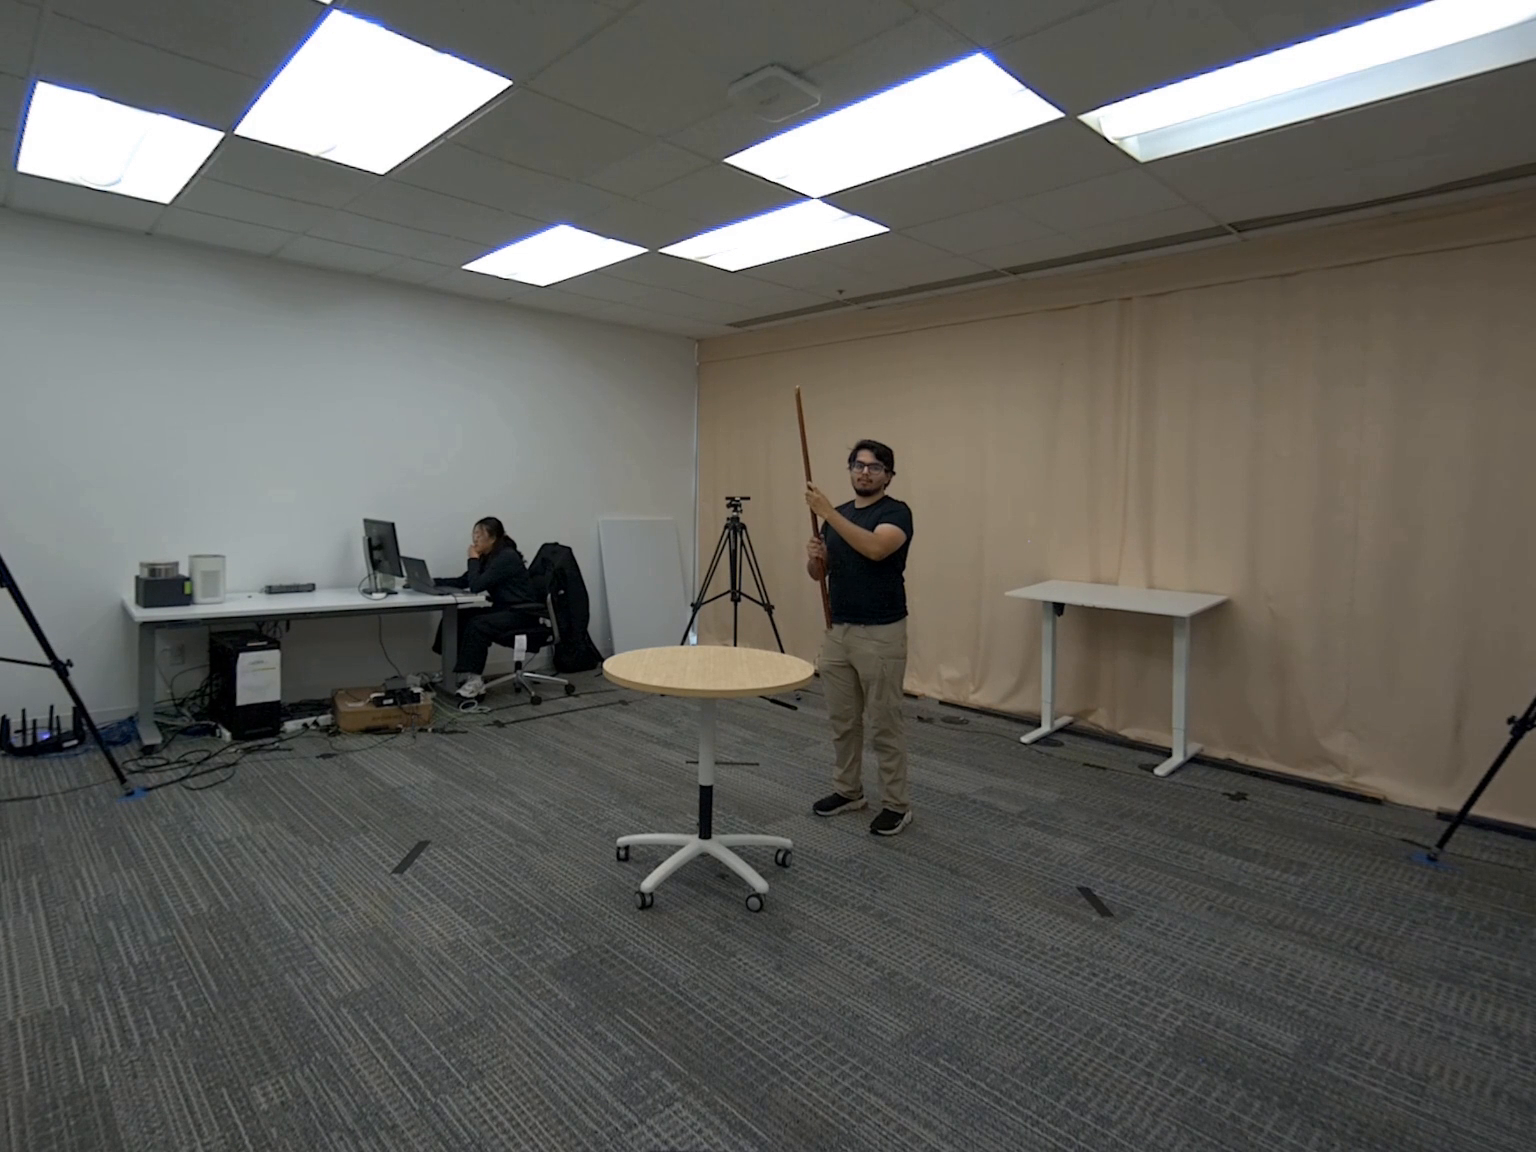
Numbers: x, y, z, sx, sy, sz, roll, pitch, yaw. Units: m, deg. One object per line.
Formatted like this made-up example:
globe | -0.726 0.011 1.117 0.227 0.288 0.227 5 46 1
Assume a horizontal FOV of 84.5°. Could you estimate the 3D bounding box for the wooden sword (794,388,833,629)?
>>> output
wooden sword | 0.193 -0.305 3.535 0.051 1.028 0.024 -9 -3 9
